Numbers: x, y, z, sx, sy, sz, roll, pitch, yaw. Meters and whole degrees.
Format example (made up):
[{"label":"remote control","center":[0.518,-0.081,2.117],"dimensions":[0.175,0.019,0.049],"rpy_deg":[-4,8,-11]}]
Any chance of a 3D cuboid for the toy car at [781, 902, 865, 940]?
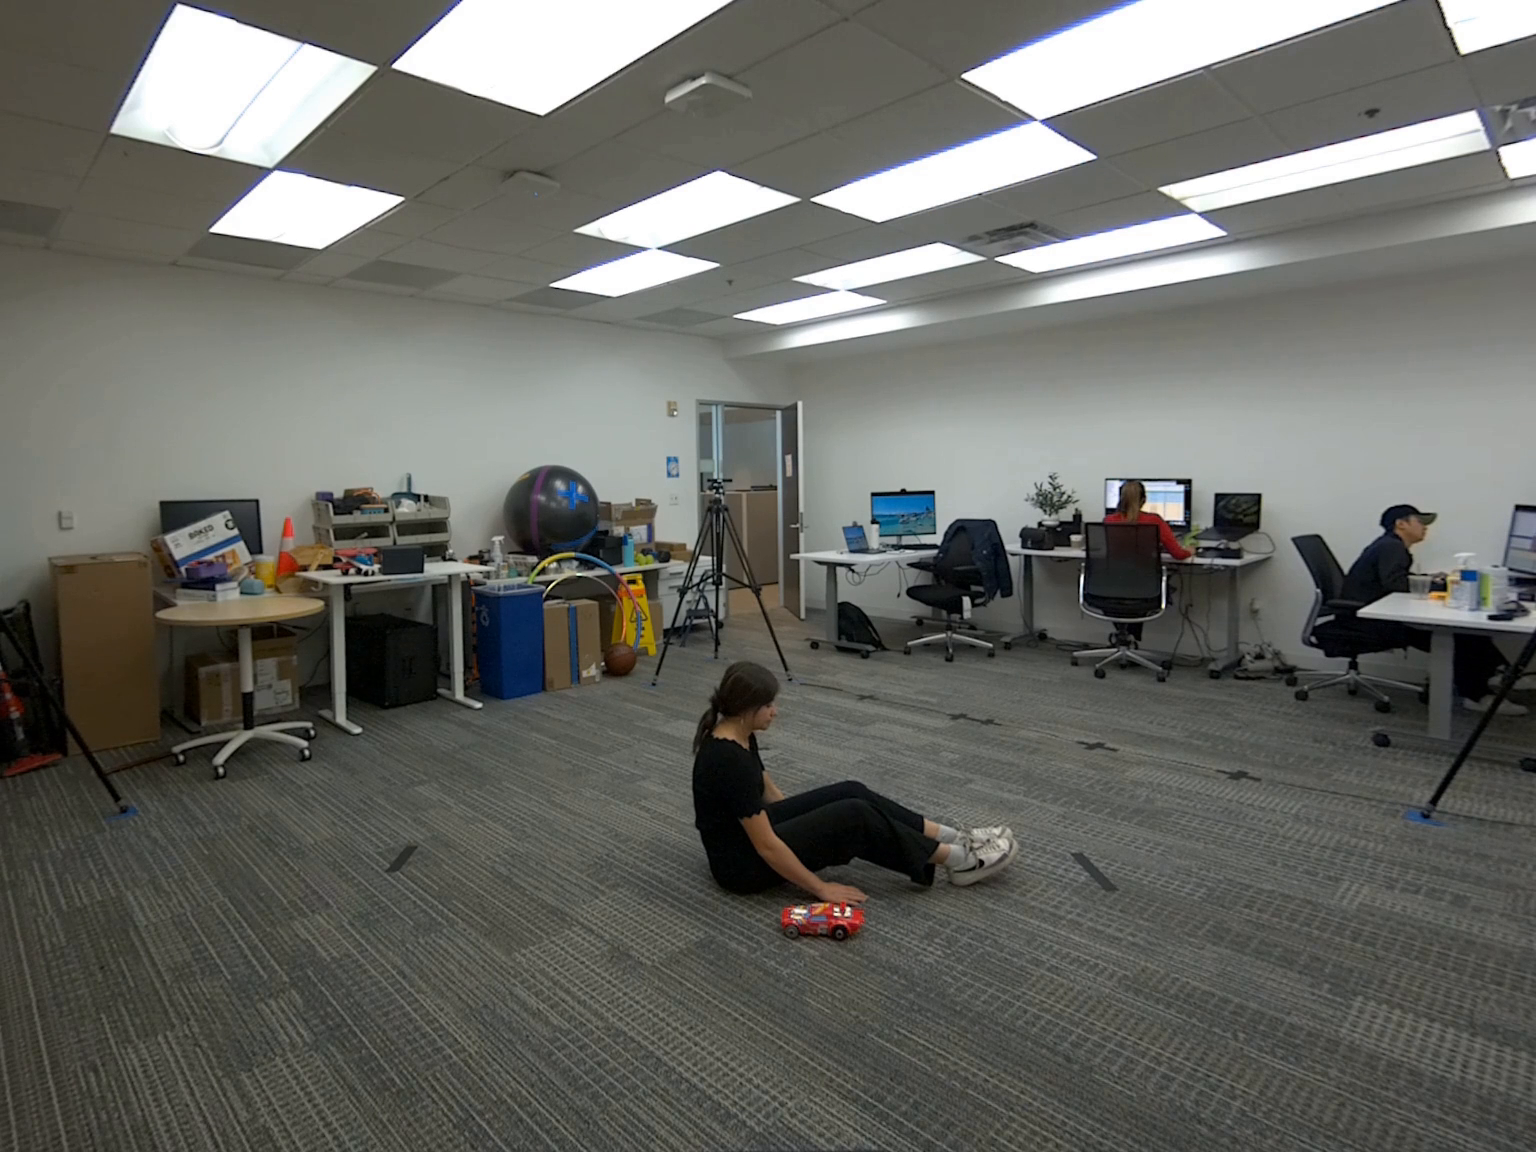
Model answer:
[{"label":"toy car","center":[0.181,1.068,2.634],"dimensions":[0.256,0.083,0.130],"rpy_deg":[-12,4,9]}]
